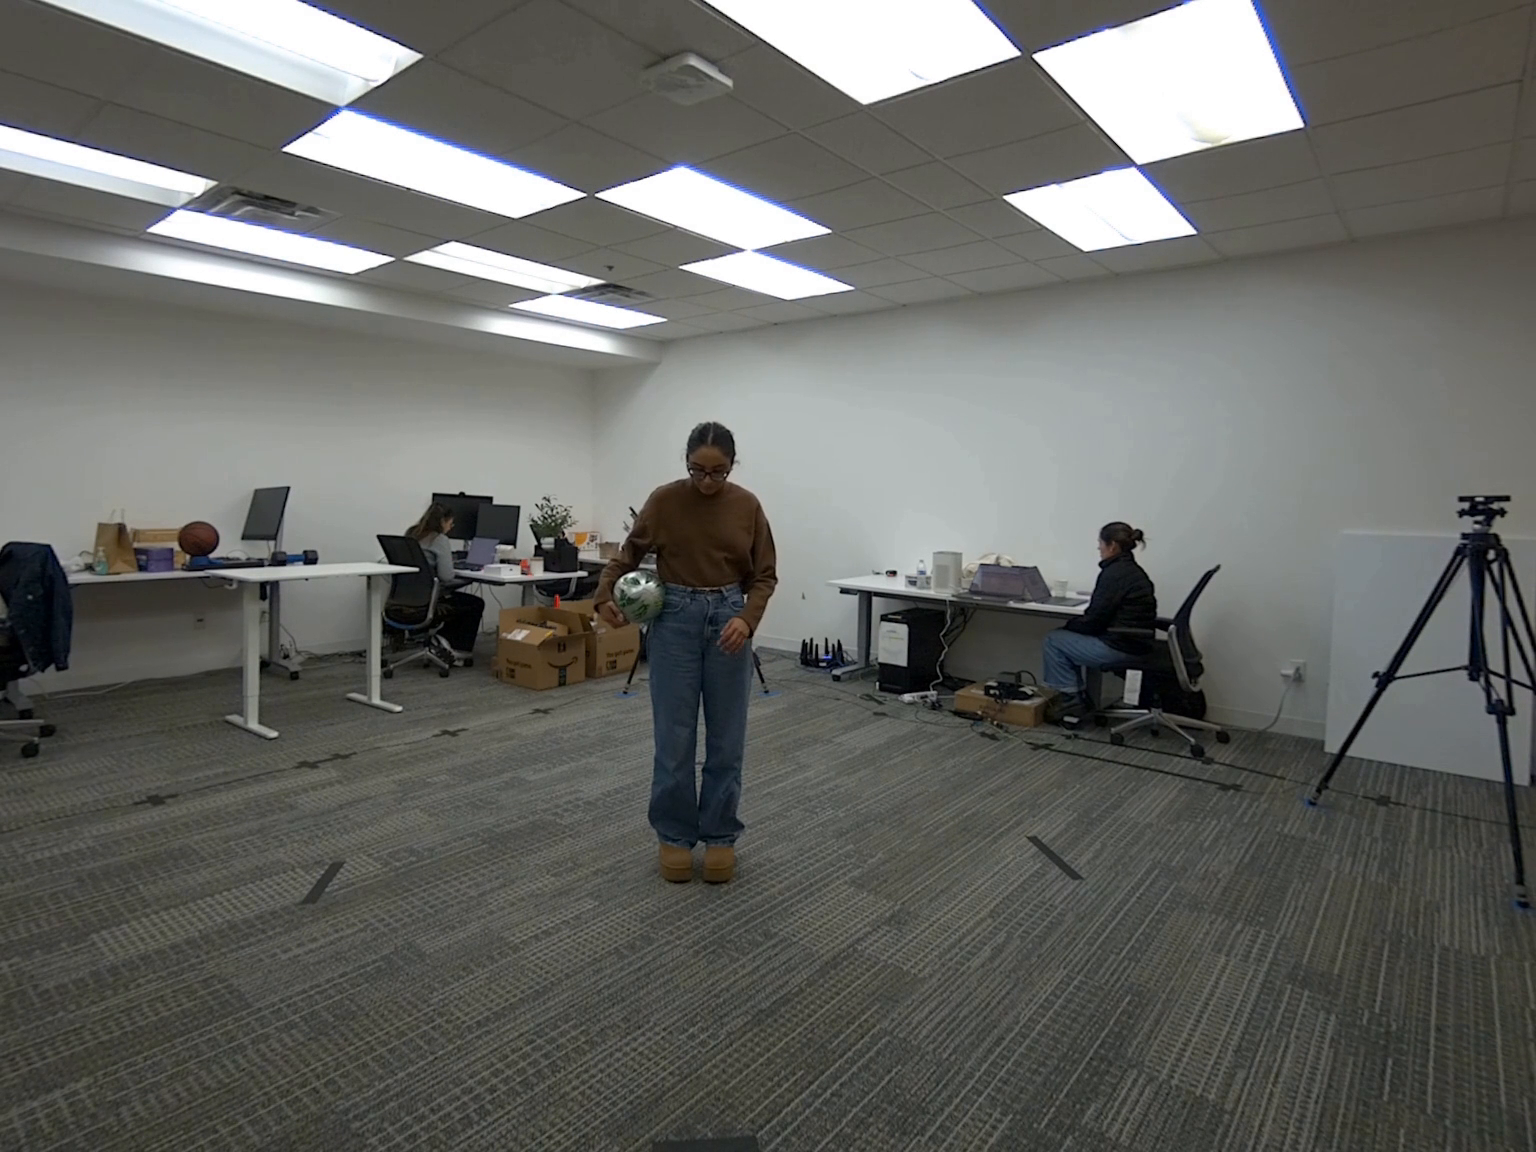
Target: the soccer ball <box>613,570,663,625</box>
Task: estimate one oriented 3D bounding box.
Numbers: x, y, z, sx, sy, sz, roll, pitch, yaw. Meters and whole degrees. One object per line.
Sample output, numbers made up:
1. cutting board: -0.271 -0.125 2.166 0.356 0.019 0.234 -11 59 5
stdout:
1. soccer ball: -0.462 0.075 2.980 0.187 0.187 0.188 1 4 -2
